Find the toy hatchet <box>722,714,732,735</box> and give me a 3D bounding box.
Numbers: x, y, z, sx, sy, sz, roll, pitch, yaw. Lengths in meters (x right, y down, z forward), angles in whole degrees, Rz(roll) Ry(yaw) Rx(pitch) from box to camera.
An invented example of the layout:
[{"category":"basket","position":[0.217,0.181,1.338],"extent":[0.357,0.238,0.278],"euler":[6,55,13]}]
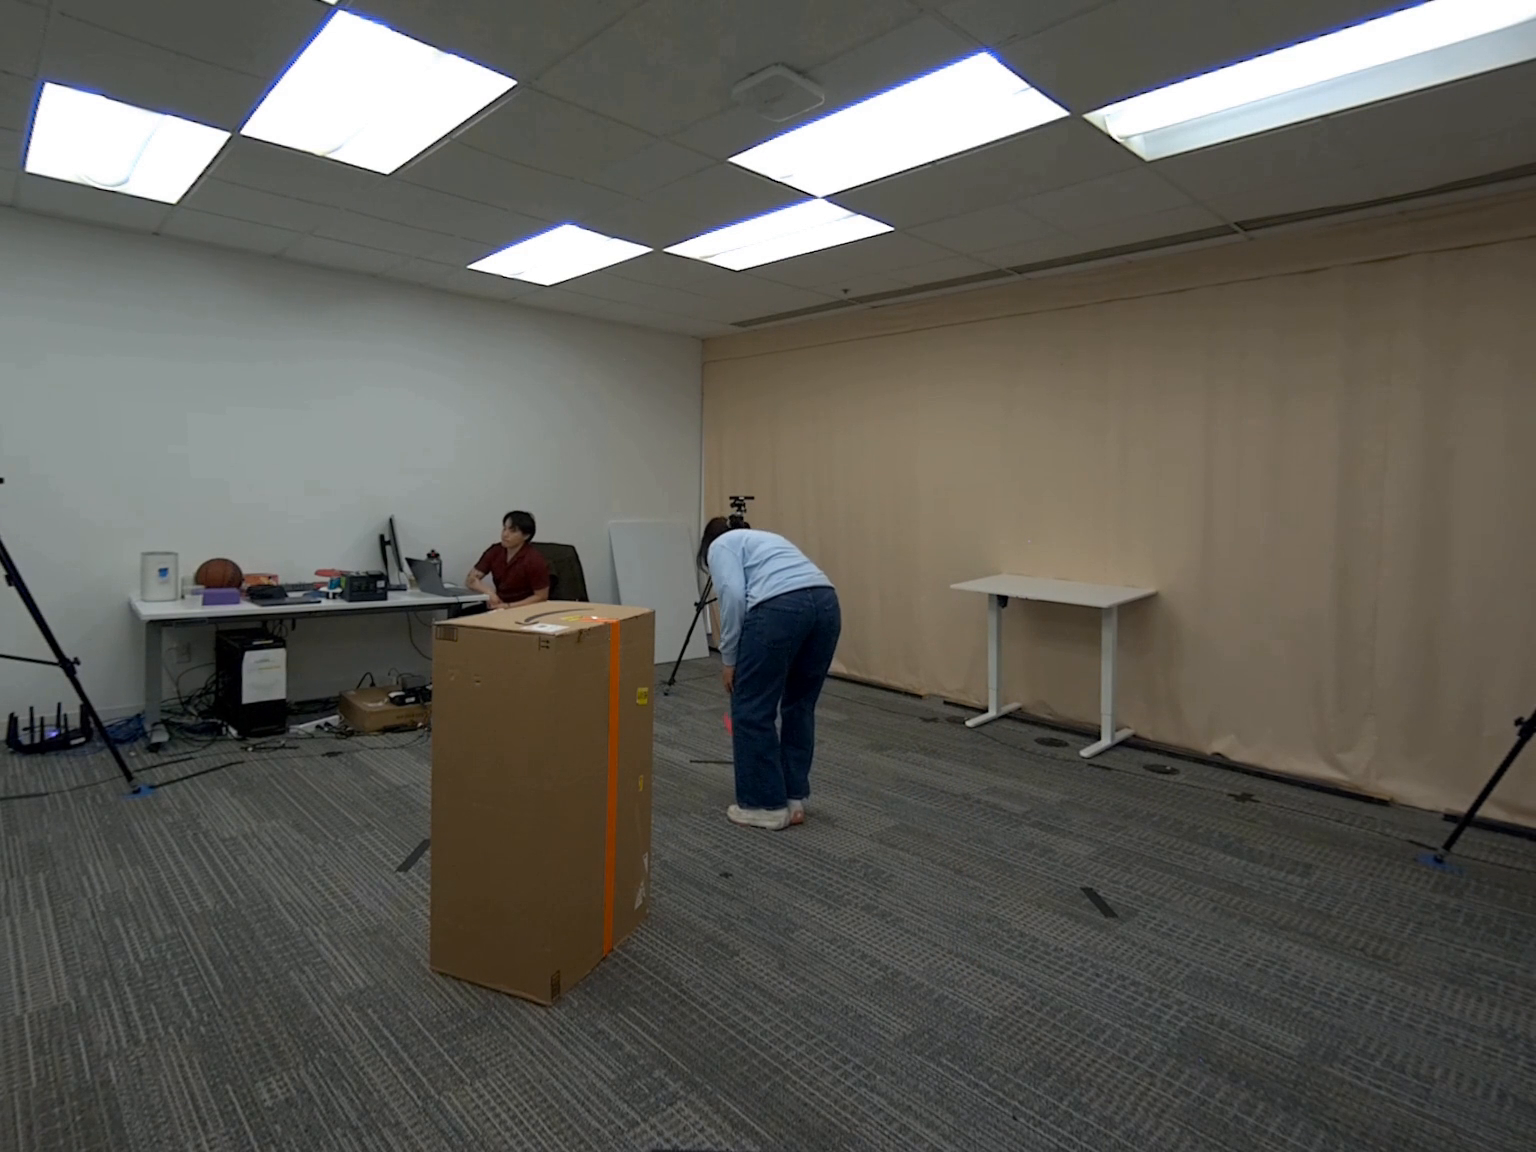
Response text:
[{"category":"toy hatchet","position":[-0.123,0.666,3.999],"extent":[0.029,0.134,0.272],"euler":[27,-45,-36]}]
